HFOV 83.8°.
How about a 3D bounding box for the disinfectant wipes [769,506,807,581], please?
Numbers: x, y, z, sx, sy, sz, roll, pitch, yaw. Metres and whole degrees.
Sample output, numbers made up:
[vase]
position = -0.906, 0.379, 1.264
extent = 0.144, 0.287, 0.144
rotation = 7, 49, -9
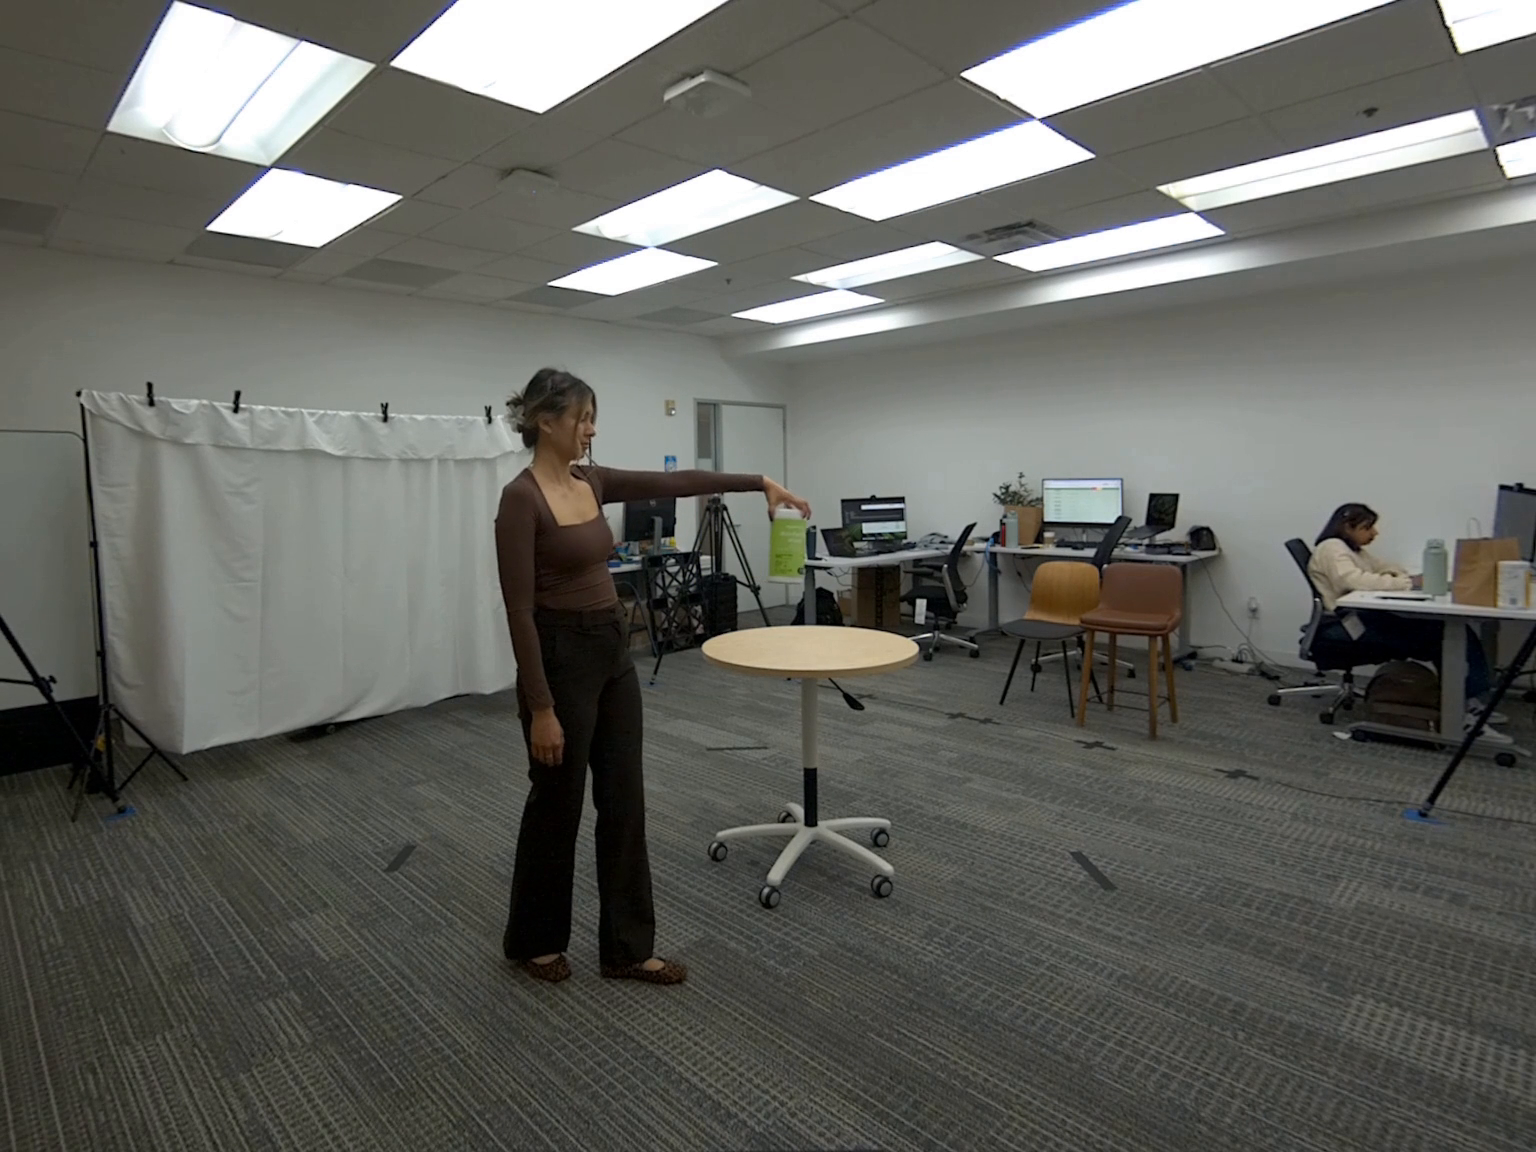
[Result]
[disinfectant wipes]
position = 0.058, -0.086, 2.498
extent = 0.118, 0.218, 0.118
rotation = 1, -2, -2
